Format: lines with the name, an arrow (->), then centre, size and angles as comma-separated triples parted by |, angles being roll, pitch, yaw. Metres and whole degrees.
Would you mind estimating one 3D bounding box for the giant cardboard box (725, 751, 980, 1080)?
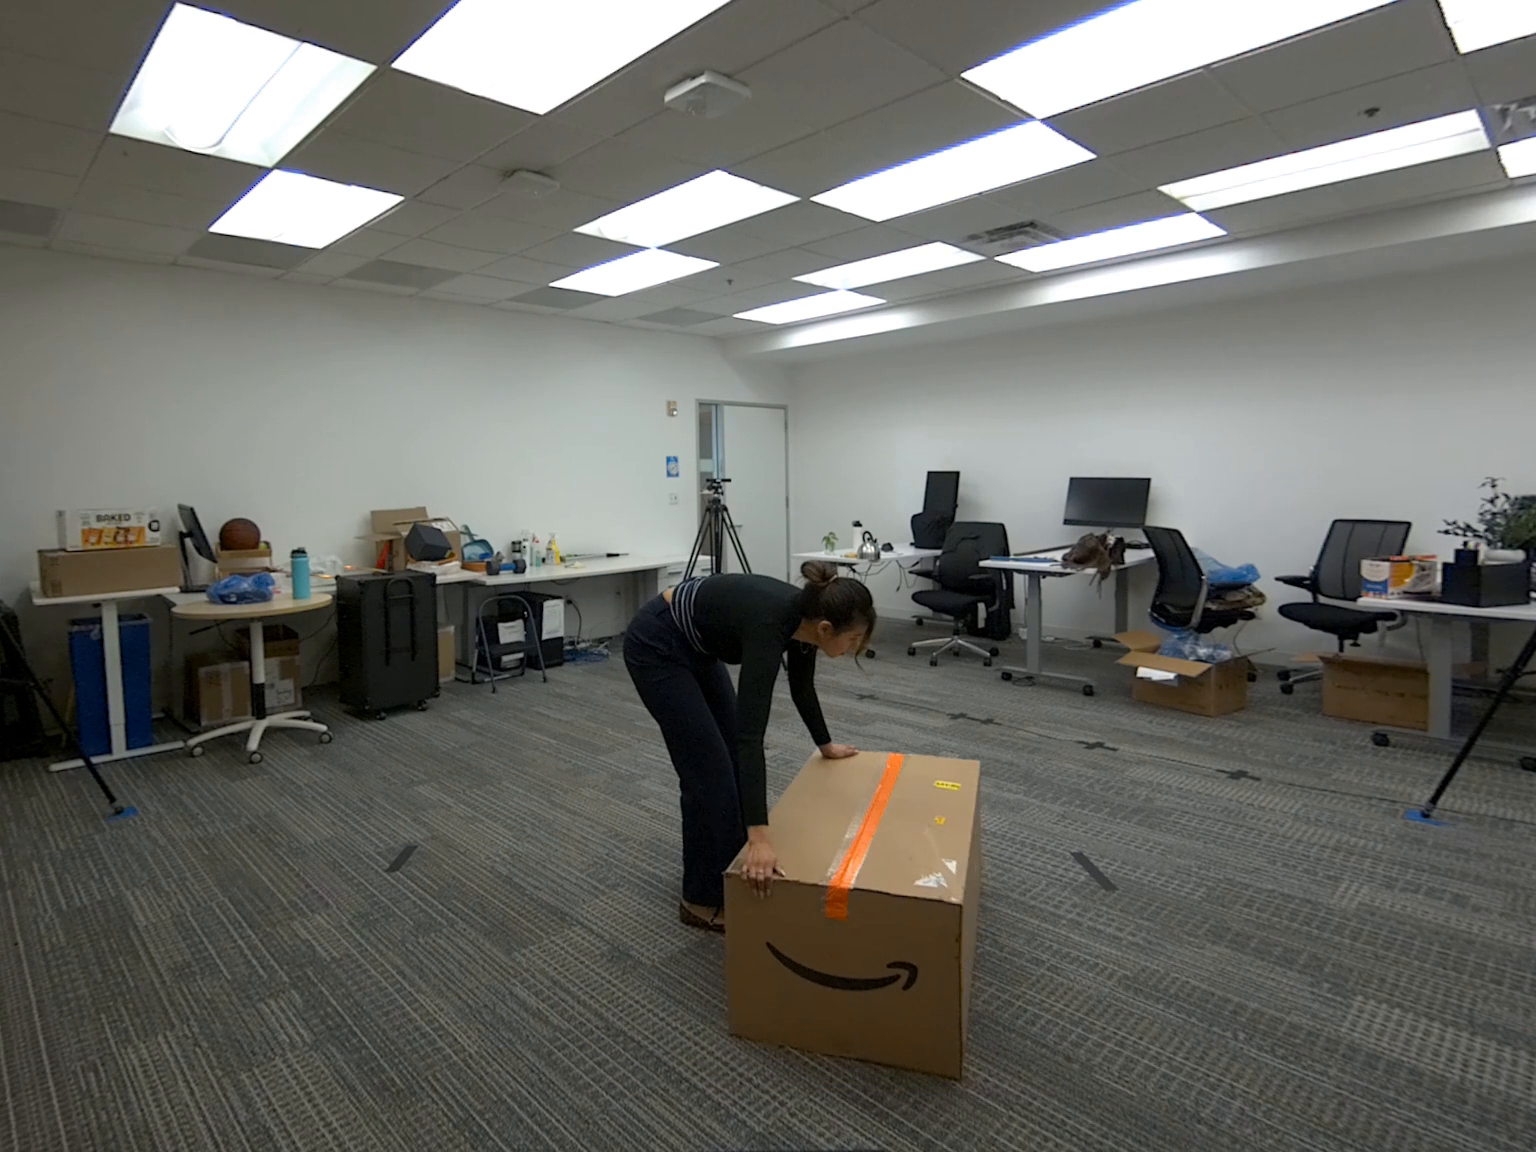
giant cardboard box -> 0.314, 0.890, 2.528 | 0.587, 0.424, 1.013 | -1, 6, 17
